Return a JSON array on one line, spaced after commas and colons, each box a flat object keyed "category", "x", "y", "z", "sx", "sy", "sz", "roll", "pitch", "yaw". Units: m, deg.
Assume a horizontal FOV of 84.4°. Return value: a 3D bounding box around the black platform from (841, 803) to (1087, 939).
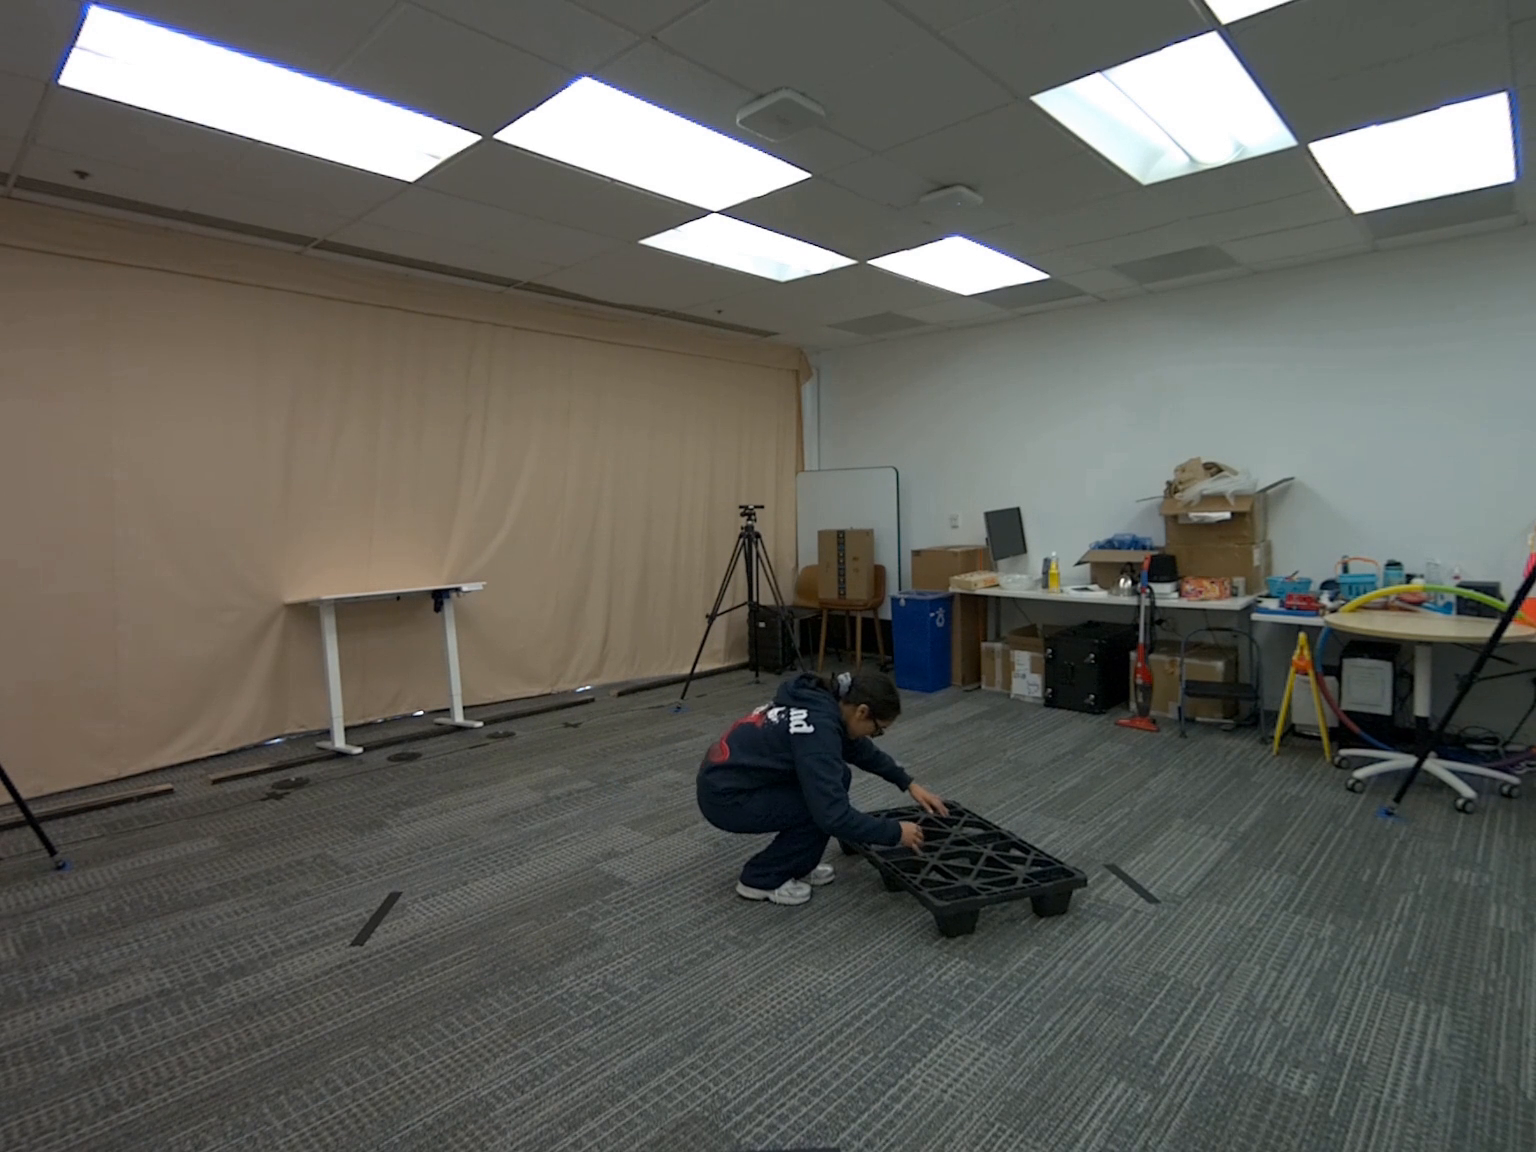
[{"category": "black platform", "x": 0.654, "y": 1.055, "z": 3.088, "sx": 0.593, "sy": 0.143, "sz": 0.824, "roll": -3, "pitch": 5, "yaw": -21}]
